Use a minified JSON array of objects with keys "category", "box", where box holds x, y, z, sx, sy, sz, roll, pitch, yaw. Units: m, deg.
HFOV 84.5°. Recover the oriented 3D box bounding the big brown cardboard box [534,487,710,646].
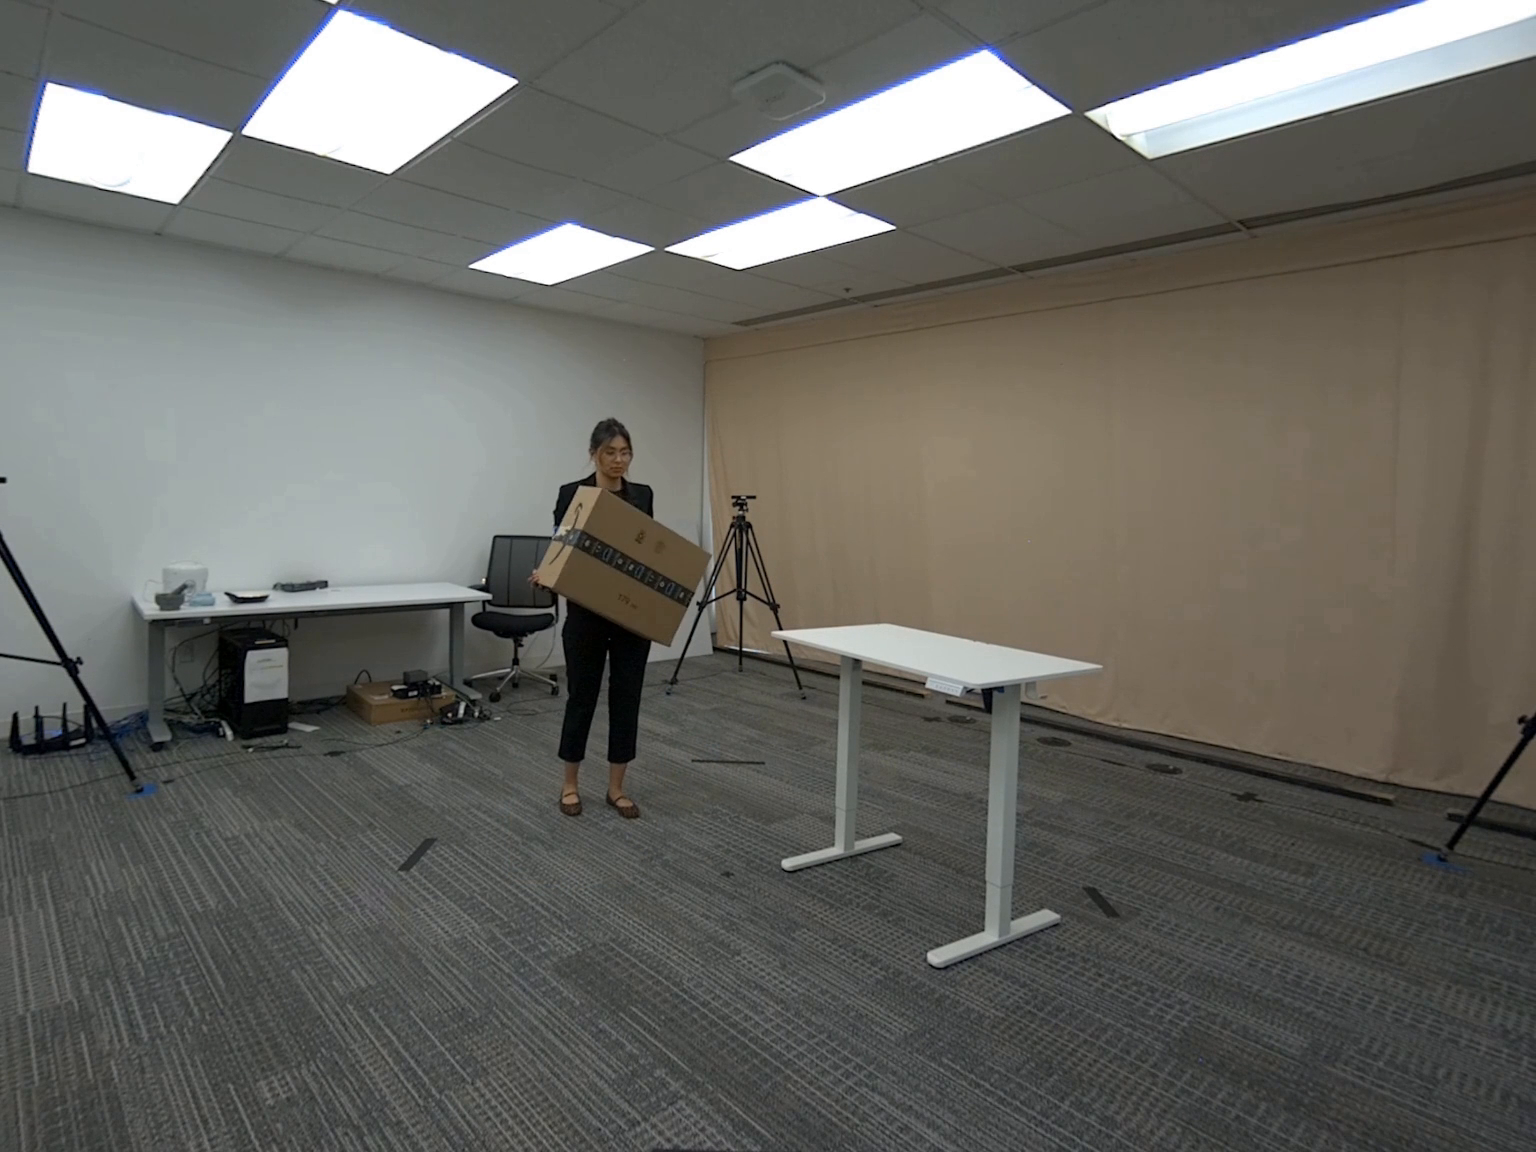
[{"category":"big brown cardboard box","box":[-0.572,-0.033,3.322,0.572,0.419,0.239,32,-12,-34]}]
